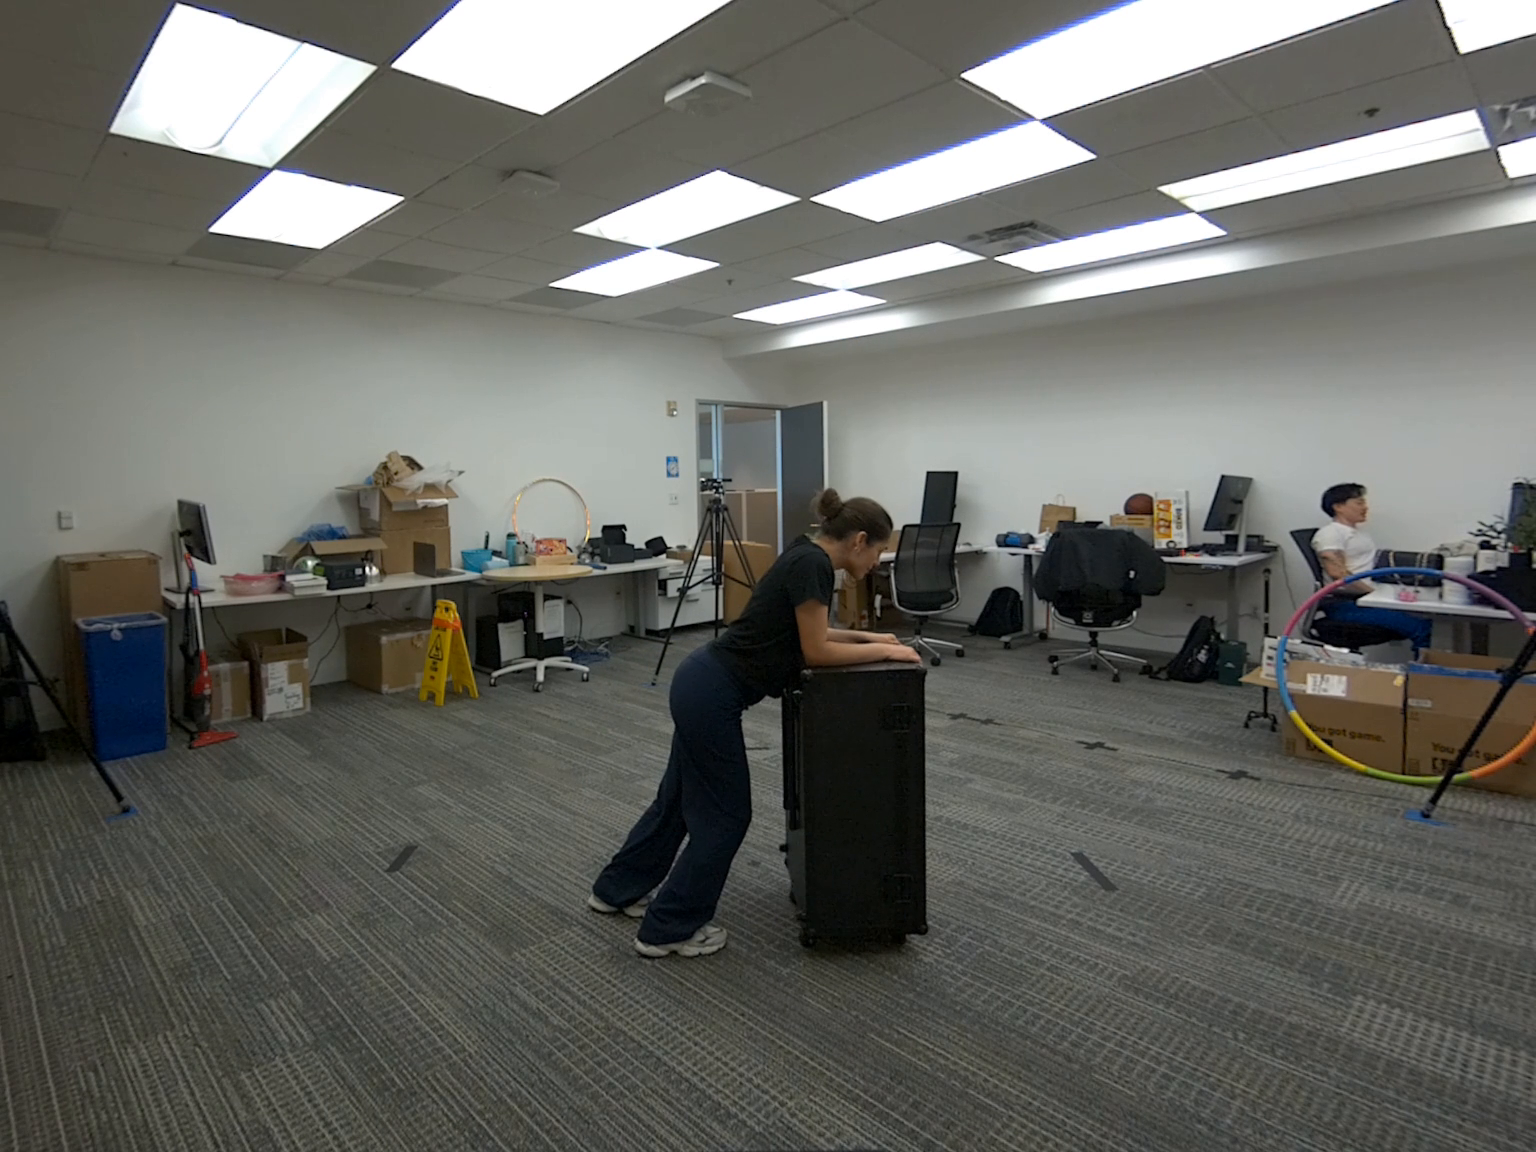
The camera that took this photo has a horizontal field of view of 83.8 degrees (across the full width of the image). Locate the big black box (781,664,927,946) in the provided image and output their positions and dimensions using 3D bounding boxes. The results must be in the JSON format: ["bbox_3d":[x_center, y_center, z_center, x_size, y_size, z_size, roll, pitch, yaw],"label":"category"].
[{"bbox_3d":[0.250,0.597,2.691,0.395,0.858,0.525,0,4,-5],"label":"big black box"}]
